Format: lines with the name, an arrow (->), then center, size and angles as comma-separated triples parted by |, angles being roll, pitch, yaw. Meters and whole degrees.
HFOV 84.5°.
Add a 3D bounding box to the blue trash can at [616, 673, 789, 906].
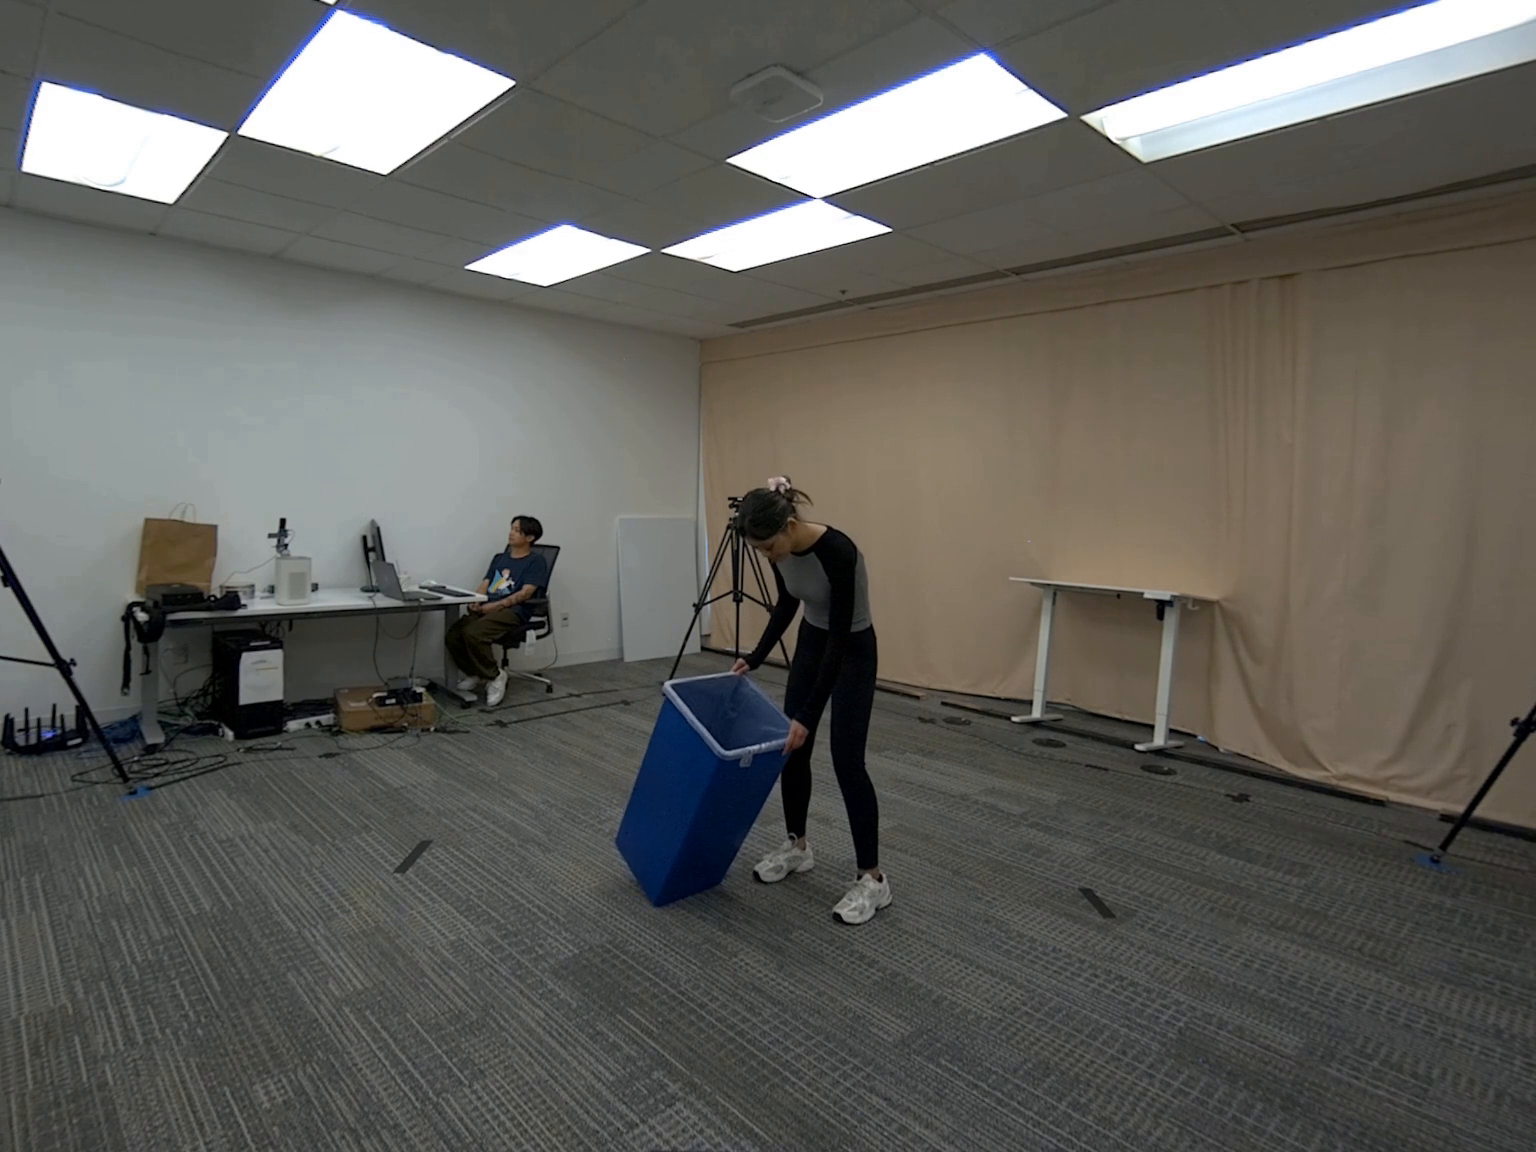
blue trash can -> -0.241, 0.736, 2.896 | 0.369, 0.708, 0.386 | 0, 32, -43
